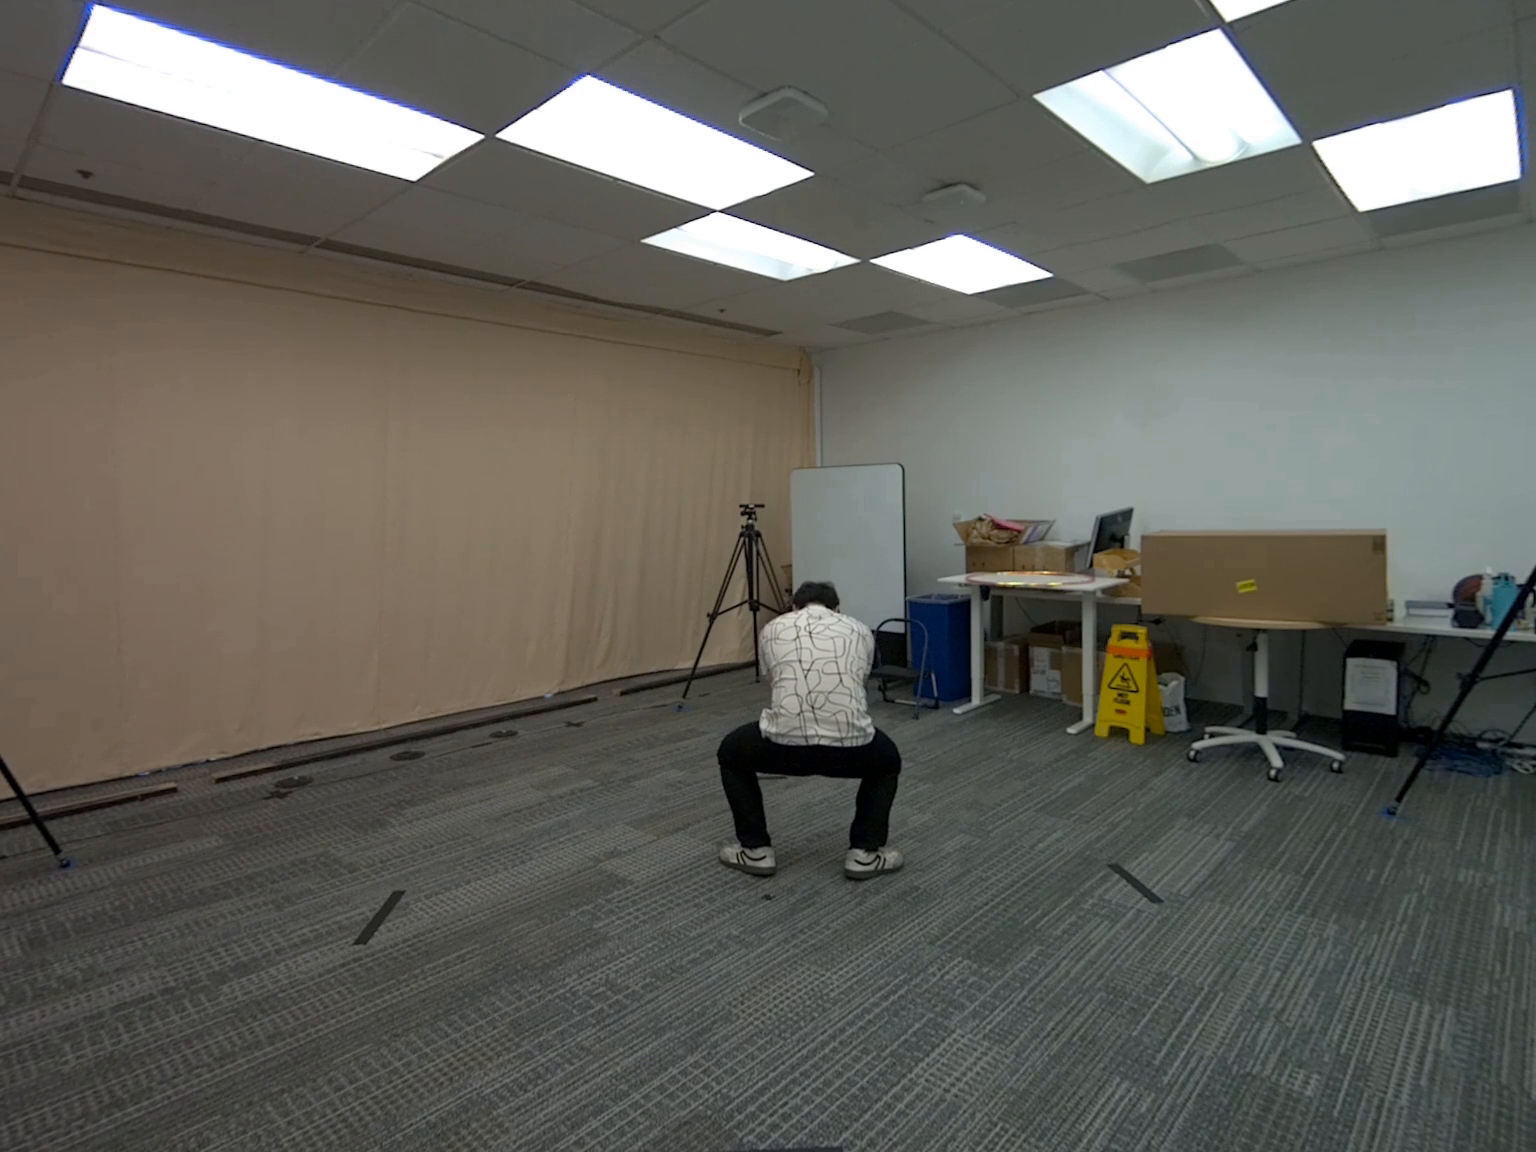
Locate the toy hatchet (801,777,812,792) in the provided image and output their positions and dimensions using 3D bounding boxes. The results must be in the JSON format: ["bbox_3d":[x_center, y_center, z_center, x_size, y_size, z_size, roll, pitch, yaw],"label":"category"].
[{"bbox_3d":[0.176,0.755,3.533,0.030,0.130,0.271,11,25,4],"label":"toy hatchet"}]
